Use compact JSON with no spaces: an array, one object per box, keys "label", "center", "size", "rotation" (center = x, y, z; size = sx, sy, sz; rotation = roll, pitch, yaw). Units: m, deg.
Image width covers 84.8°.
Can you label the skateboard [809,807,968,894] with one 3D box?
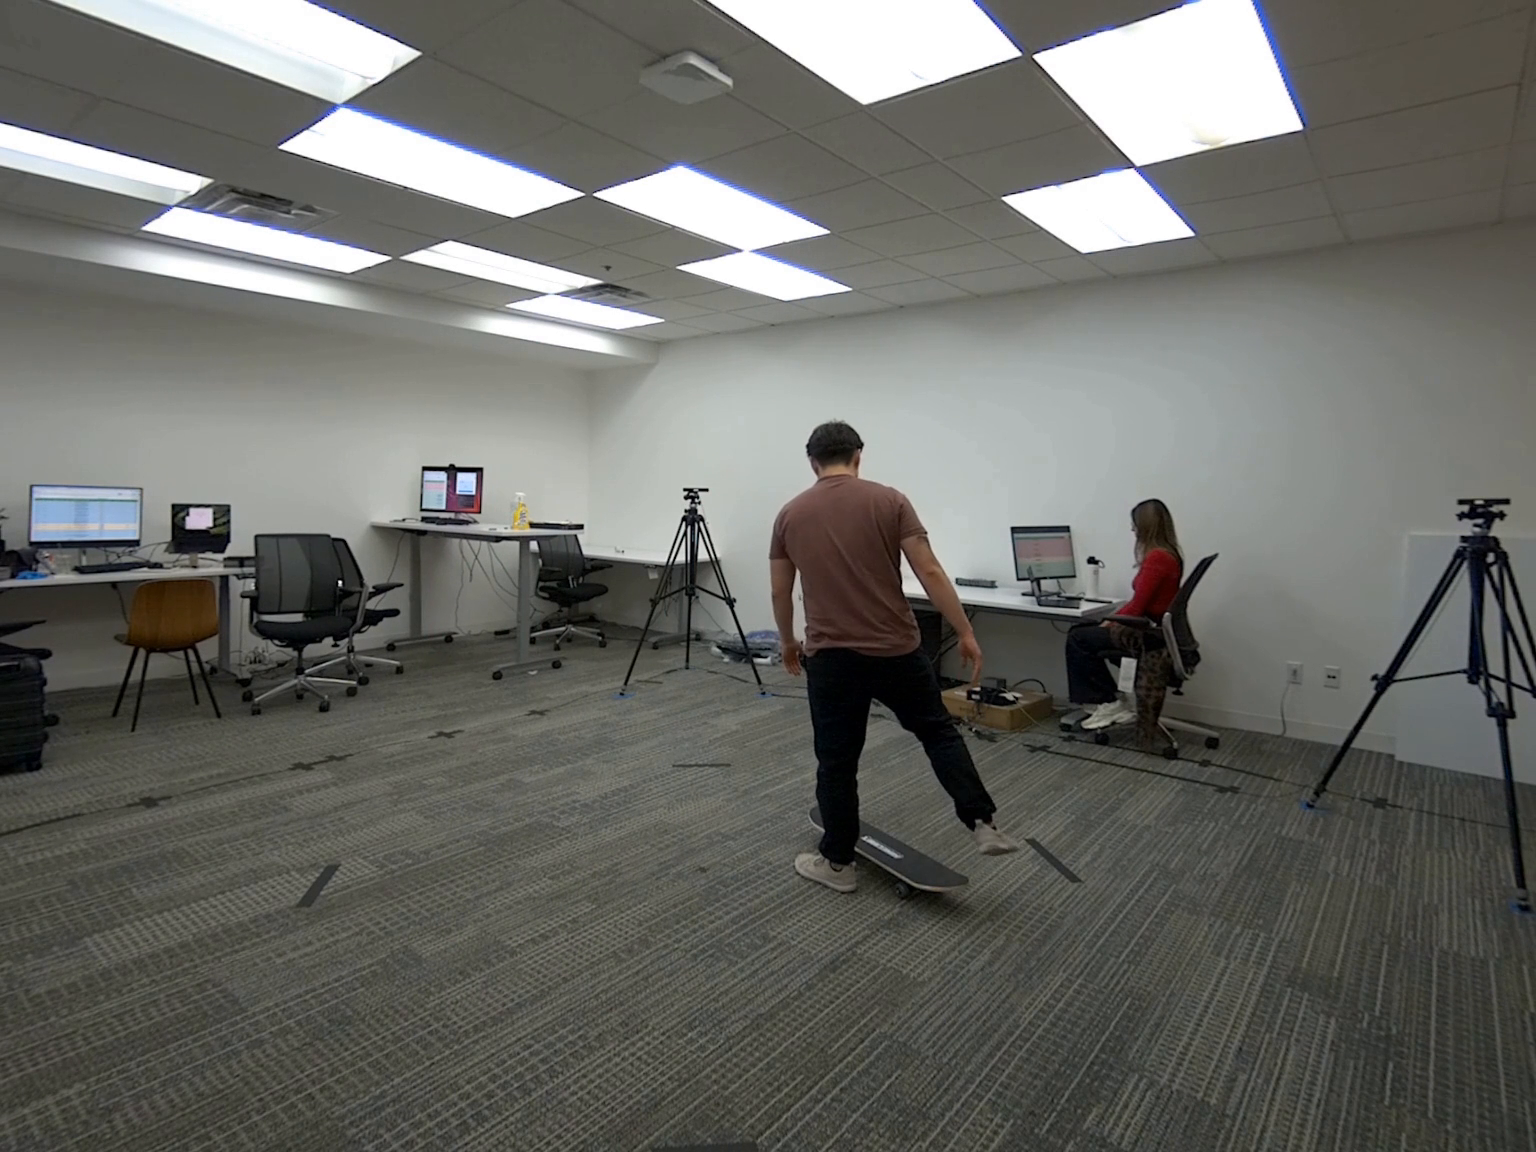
[{"label":"skateboard","center":[0.406,1.020,3.134],"size":[0.188,0.110,0.810],"rotation":[-2,6,-32]}]
